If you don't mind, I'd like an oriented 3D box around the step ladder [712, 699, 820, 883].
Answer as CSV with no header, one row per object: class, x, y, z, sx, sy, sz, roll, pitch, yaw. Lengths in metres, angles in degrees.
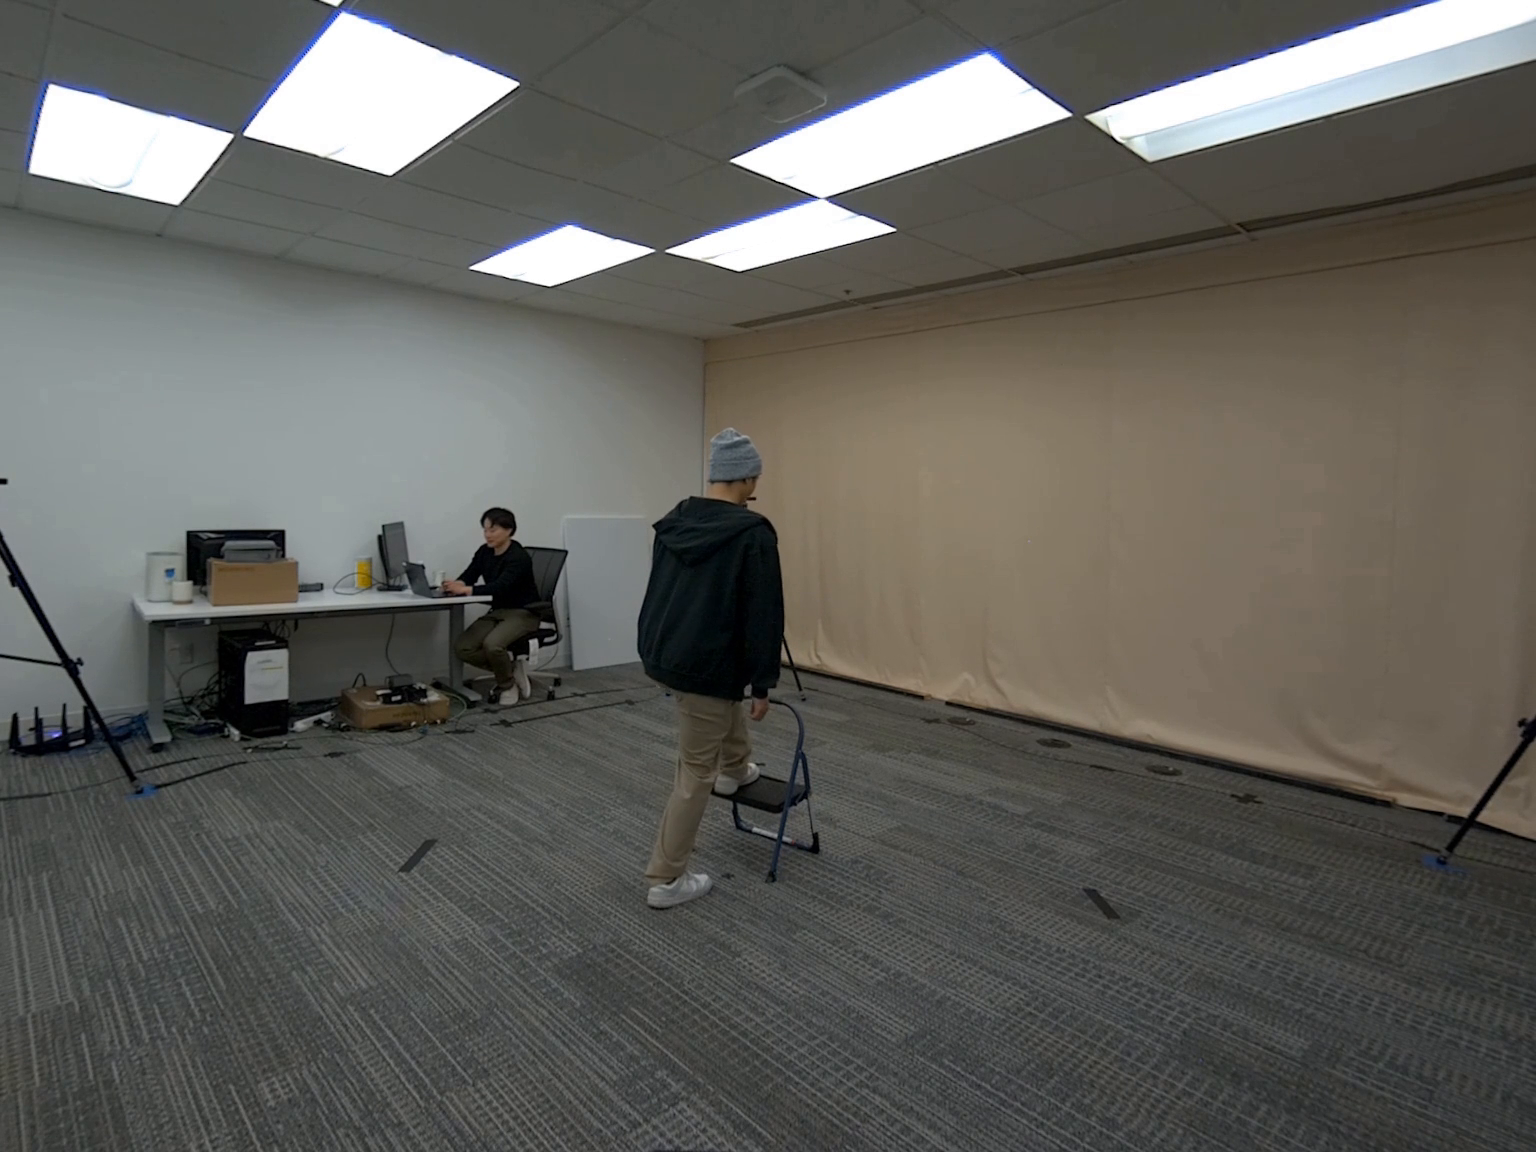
step ladder,-0.055,0.789,3.308,0.441,0.605,0.341,4,4,36
